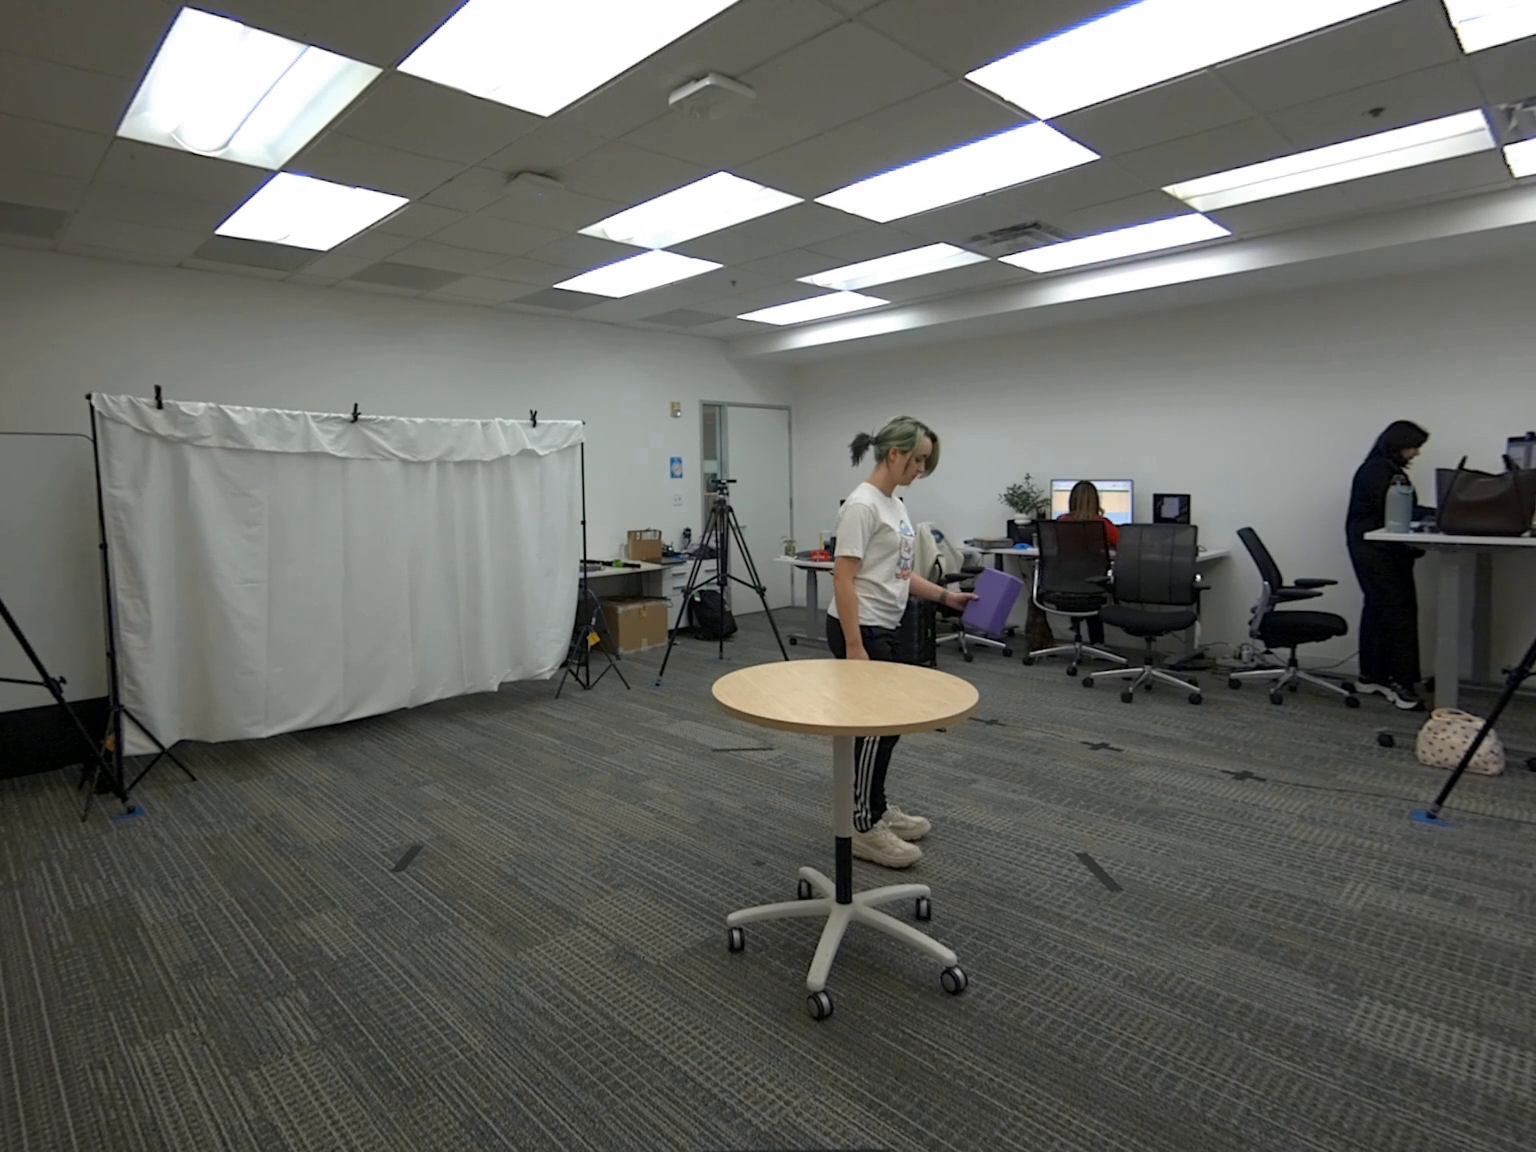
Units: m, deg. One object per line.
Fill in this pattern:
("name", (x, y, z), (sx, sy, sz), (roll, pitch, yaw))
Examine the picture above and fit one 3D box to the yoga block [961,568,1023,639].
("yoga block", (0.836, 0.099, 3.201), (0.074, 0.229, 0.154), (22, 5, -32))
